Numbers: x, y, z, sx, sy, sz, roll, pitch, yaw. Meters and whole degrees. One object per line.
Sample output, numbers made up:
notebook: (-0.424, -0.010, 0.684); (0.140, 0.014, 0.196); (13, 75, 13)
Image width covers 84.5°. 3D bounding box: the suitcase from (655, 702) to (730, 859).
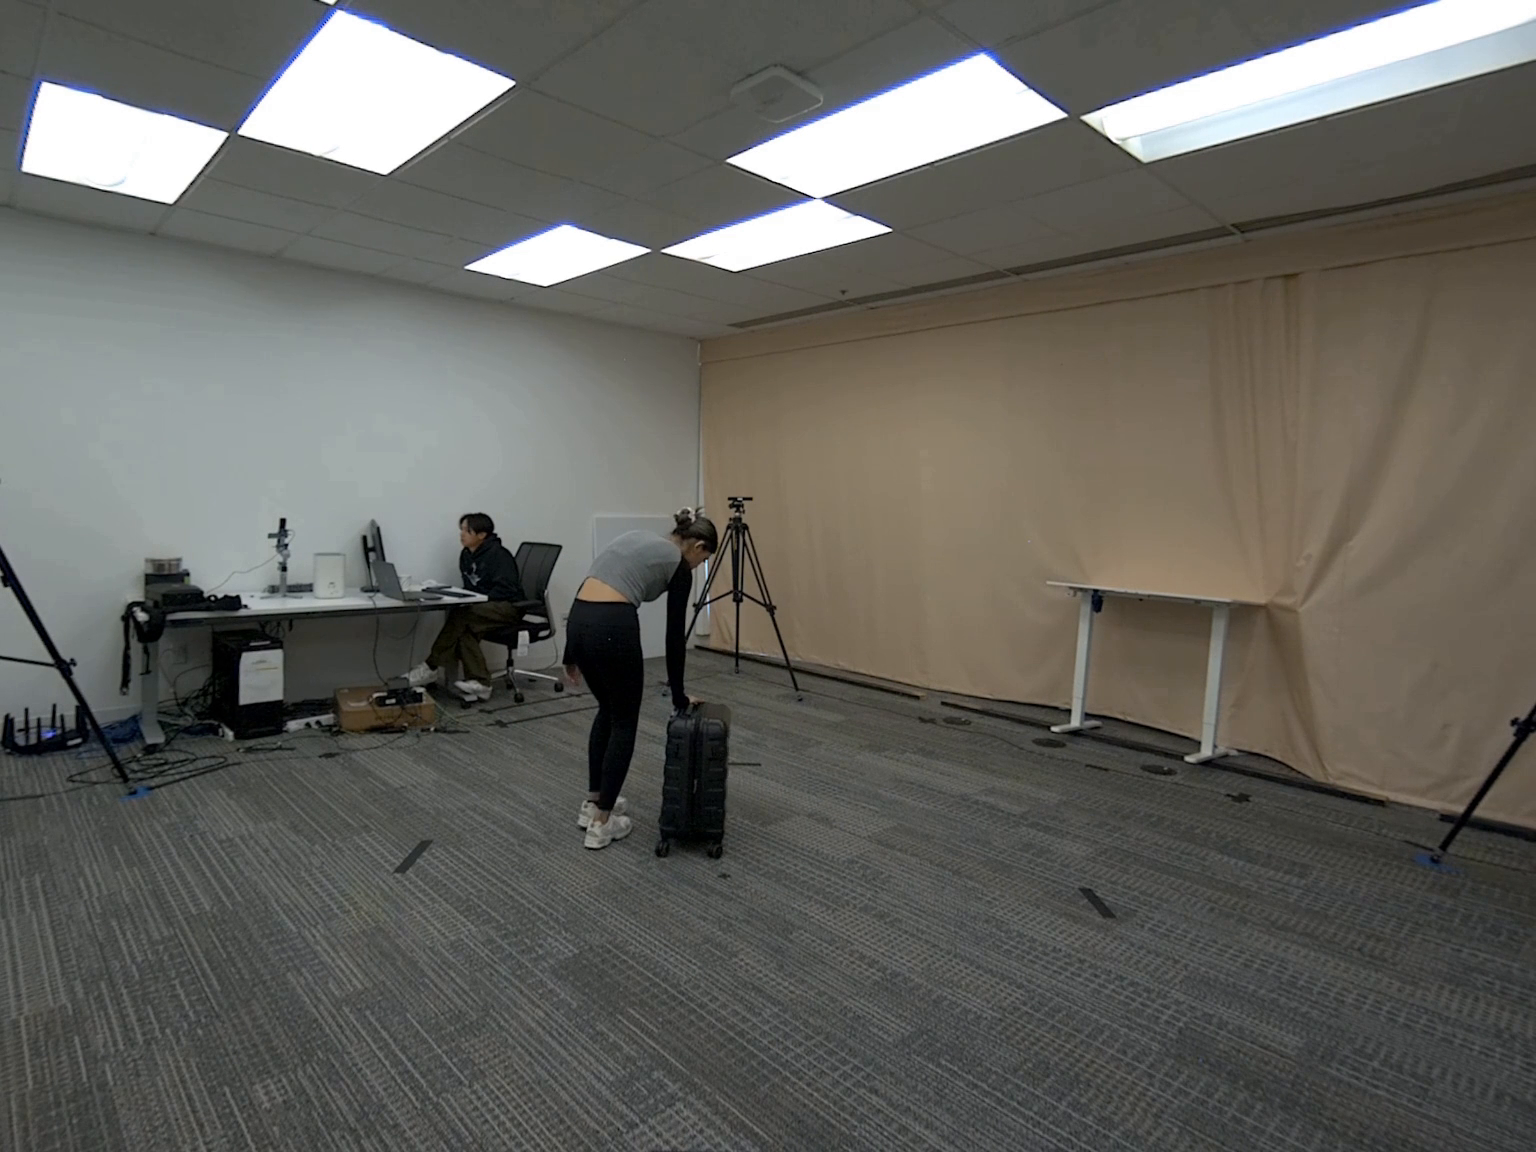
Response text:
suitcase: (-0.299, 0.800, 3.417); (0.248, 0.549, 0.376); (4, 2, -1)
